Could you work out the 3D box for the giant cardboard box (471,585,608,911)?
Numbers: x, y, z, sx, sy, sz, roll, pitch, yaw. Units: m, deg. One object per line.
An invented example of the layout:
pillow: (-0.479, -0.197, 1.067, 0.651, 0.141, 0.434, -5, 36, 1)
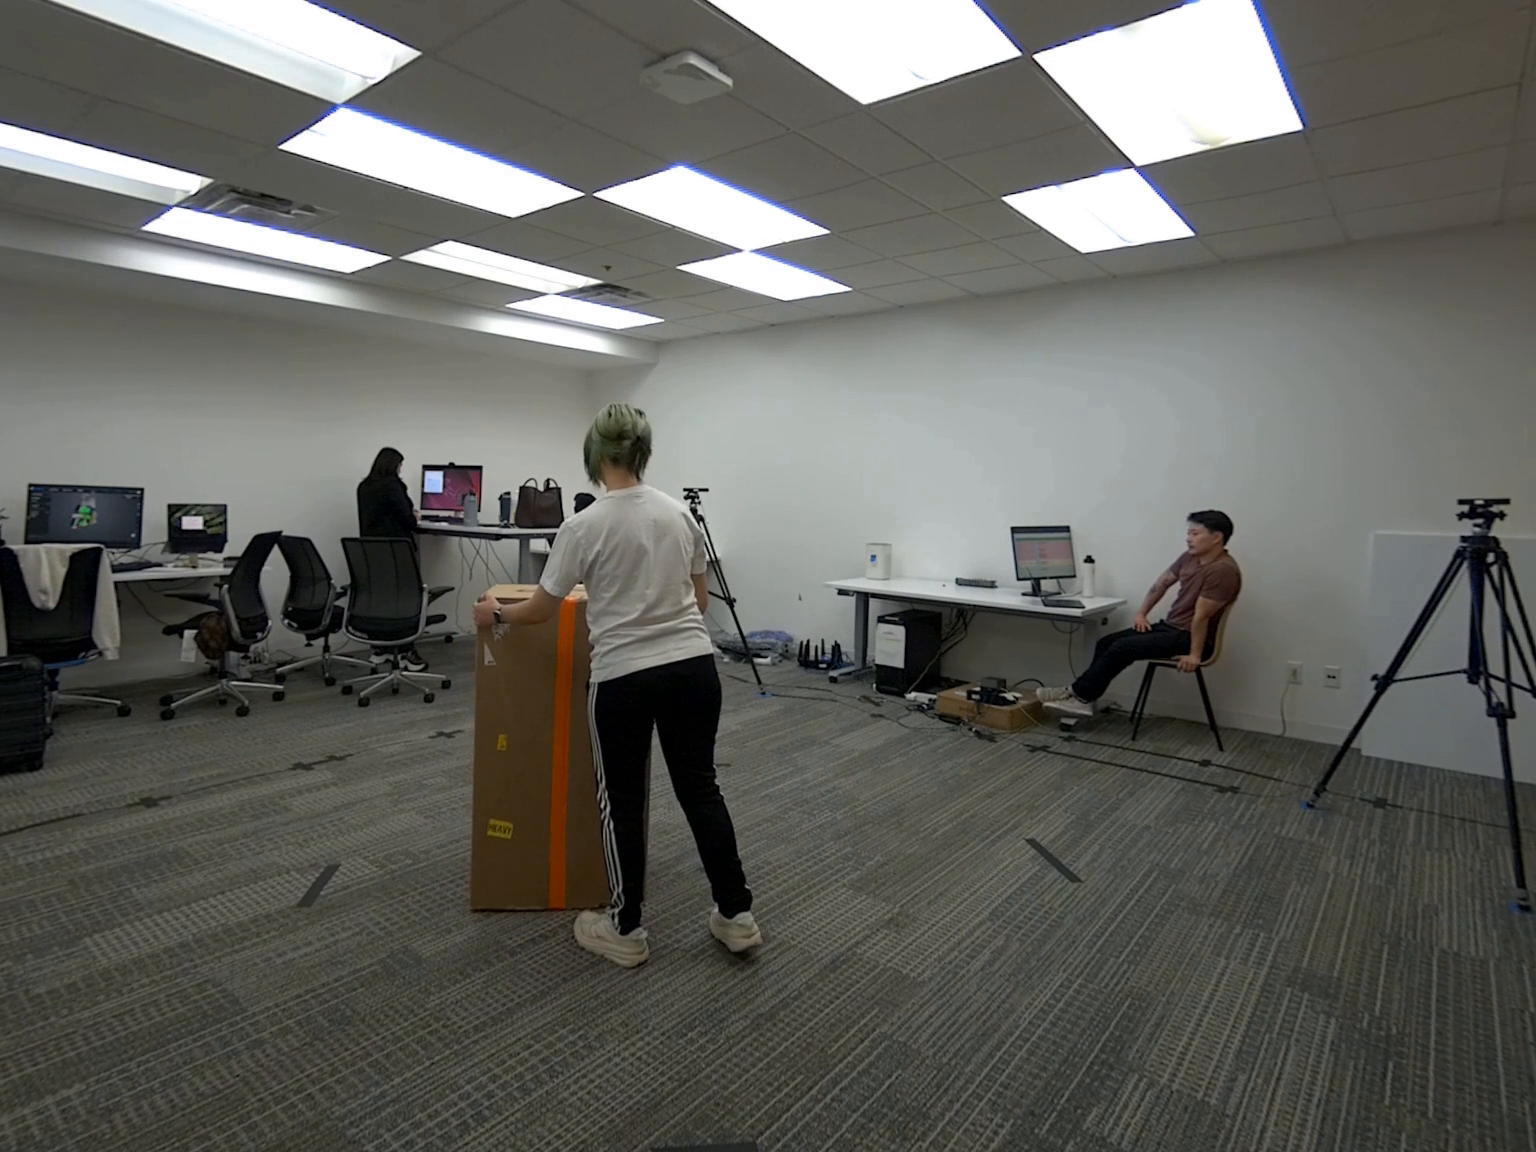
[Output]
giant cardboard box: (-0.714, 0.564, 2.978, 0.574, 1.024, 0.430, 2, 2, -7)
